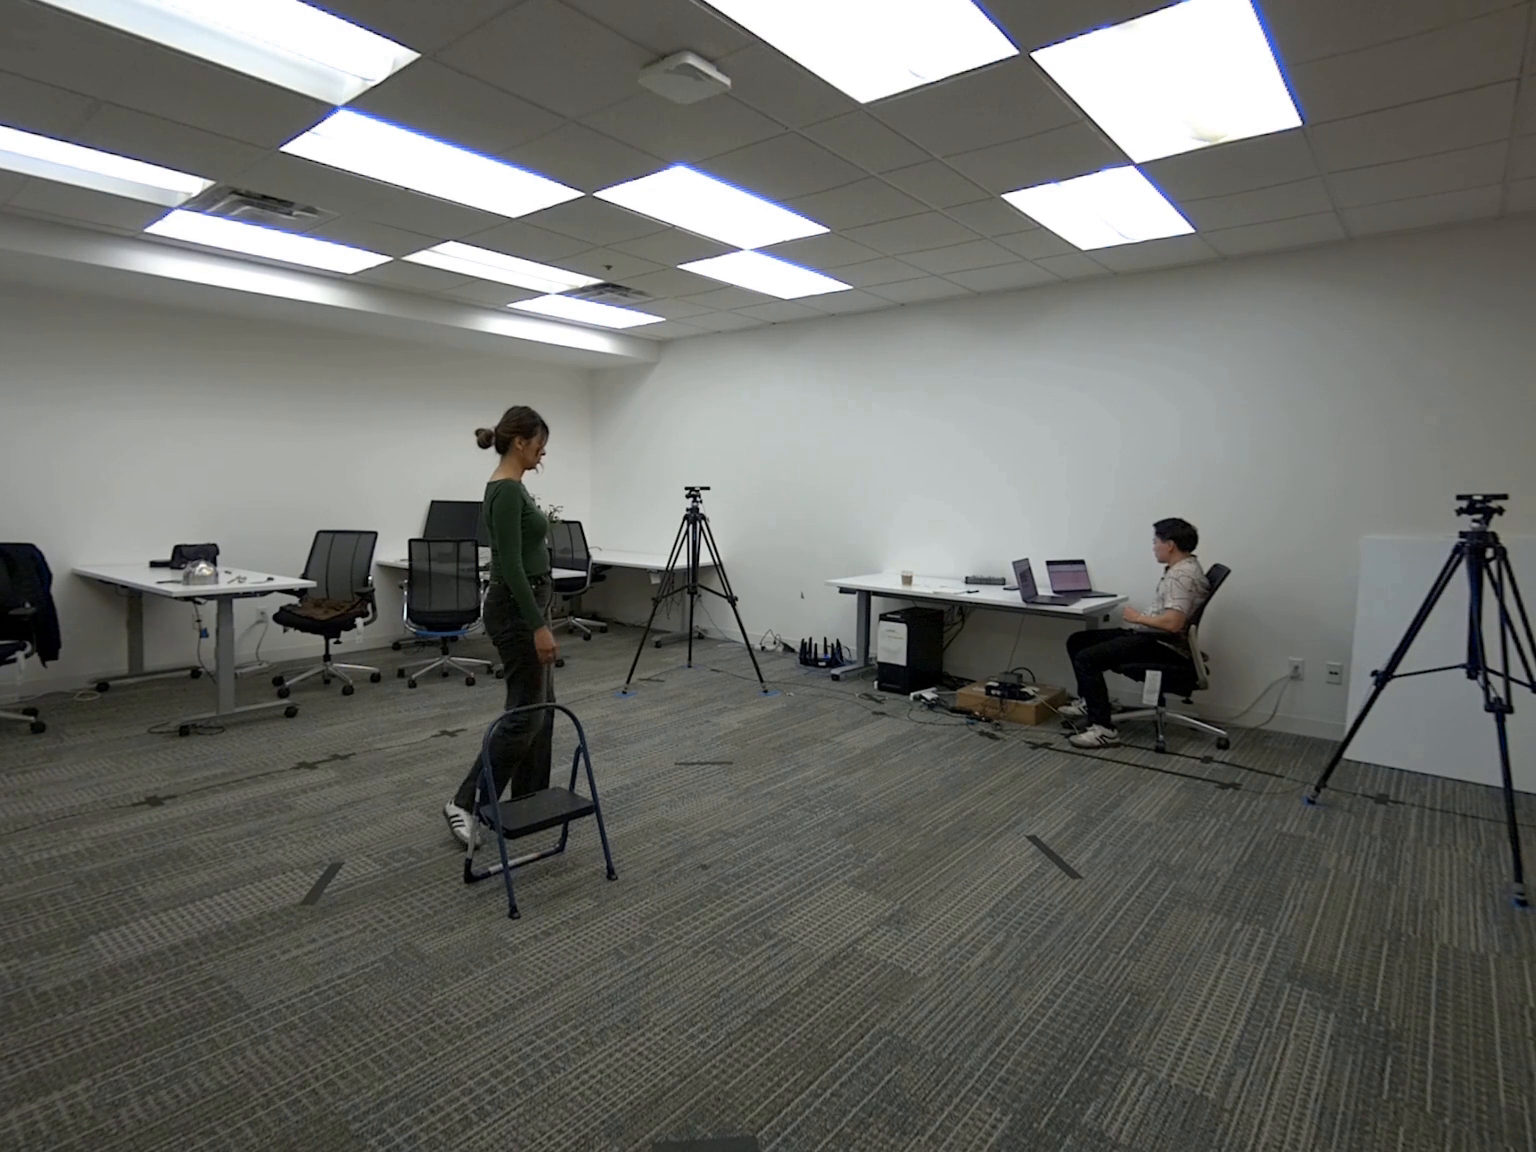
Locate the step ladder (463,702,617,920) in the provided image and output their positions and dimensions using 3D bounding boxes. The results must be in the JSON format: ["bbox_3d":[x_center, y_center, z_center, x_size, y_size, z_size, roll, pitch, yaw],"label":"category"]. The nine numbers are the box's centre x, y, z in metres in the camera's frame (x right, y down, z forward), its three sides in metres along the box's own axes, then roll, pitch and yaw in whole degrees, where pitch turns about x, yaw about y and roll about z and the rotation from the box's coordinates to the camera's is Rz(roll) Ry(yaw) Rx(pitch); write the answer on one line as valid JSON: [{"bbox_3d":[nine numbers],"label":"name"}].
[{"bbox_3d":[-0.806,0.767,2.974,0.361,0.604,0.417,3,4,43],"label":"step ladder"}]
